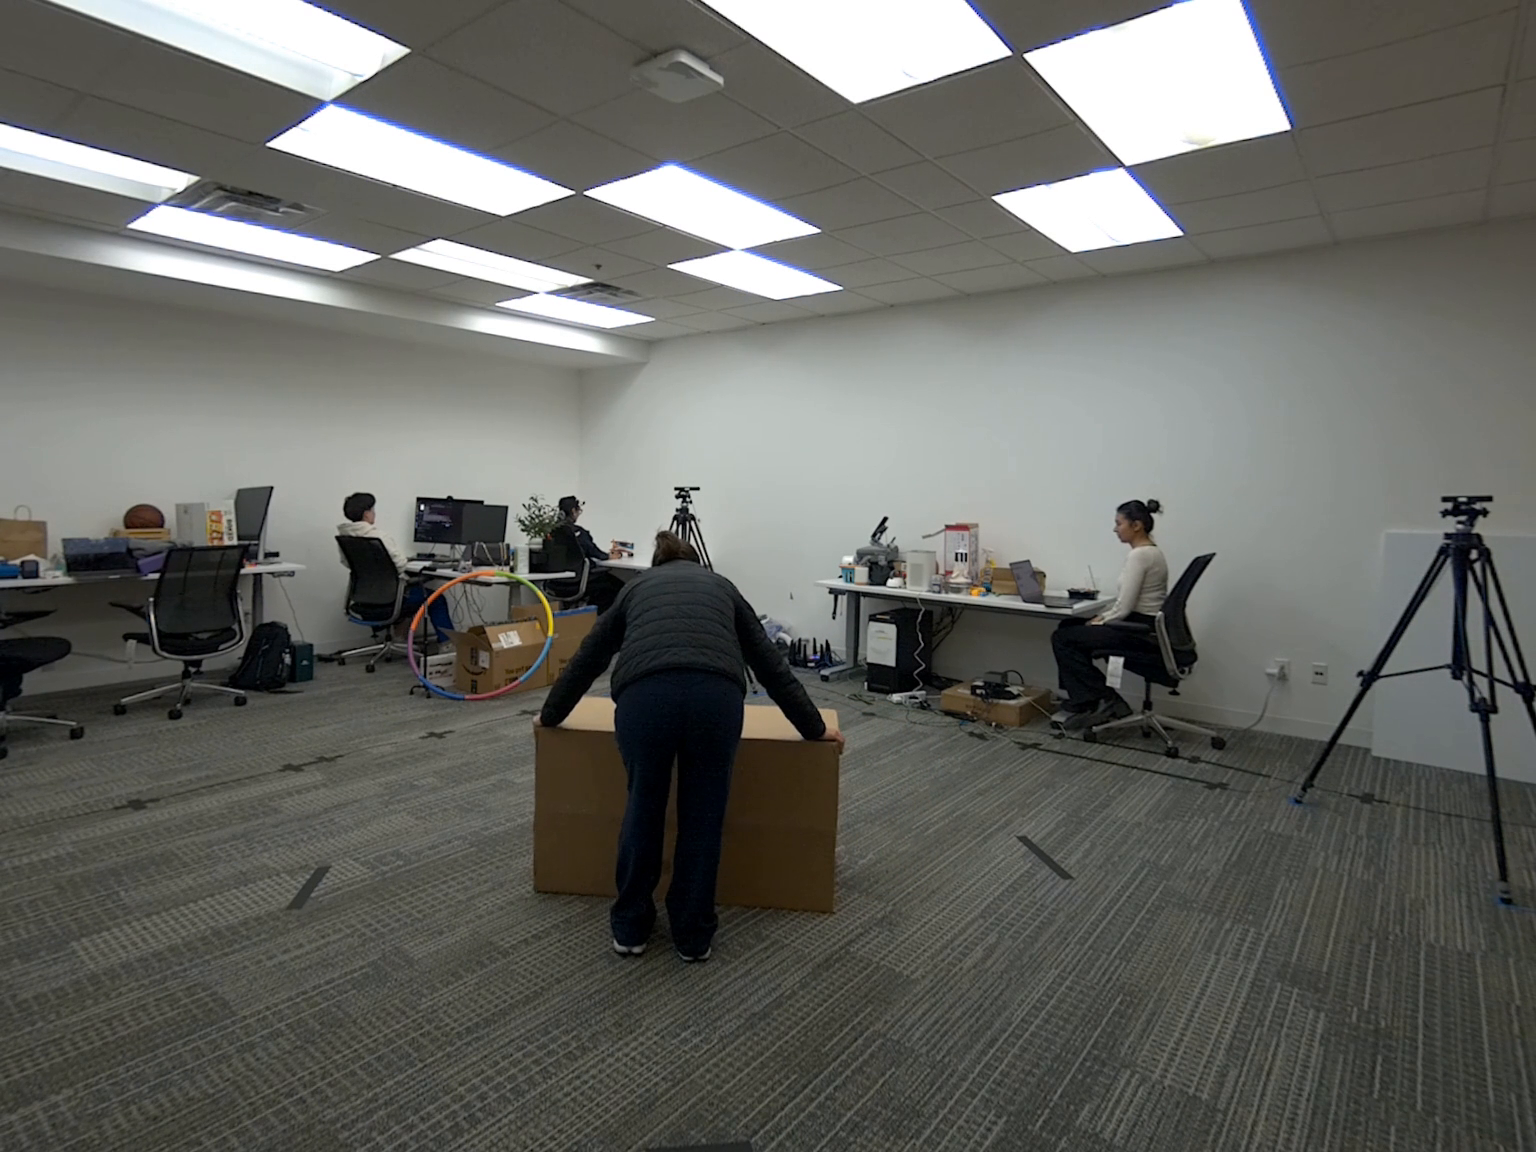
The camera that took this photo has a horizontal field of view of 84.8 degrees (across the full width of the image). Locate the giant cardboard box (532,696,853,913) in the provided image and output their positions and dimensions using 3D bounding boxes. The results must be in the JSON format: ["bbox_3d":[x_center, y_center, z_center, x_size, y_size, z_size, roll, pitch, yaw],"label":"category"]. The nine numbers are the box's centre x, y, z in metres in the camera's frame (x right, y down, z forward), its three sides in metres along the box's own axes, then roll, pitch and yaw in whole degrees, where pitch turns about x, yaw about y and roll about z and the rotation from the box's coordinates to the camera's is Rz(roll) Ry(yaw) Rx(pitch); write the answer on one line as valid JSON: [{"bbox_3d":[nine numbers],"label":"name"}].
[{"bbox_3d":[-0.259,0.782,3.053,1.034,0.582,0.445,2,4,6],"label":"giant cardboard box"}]
